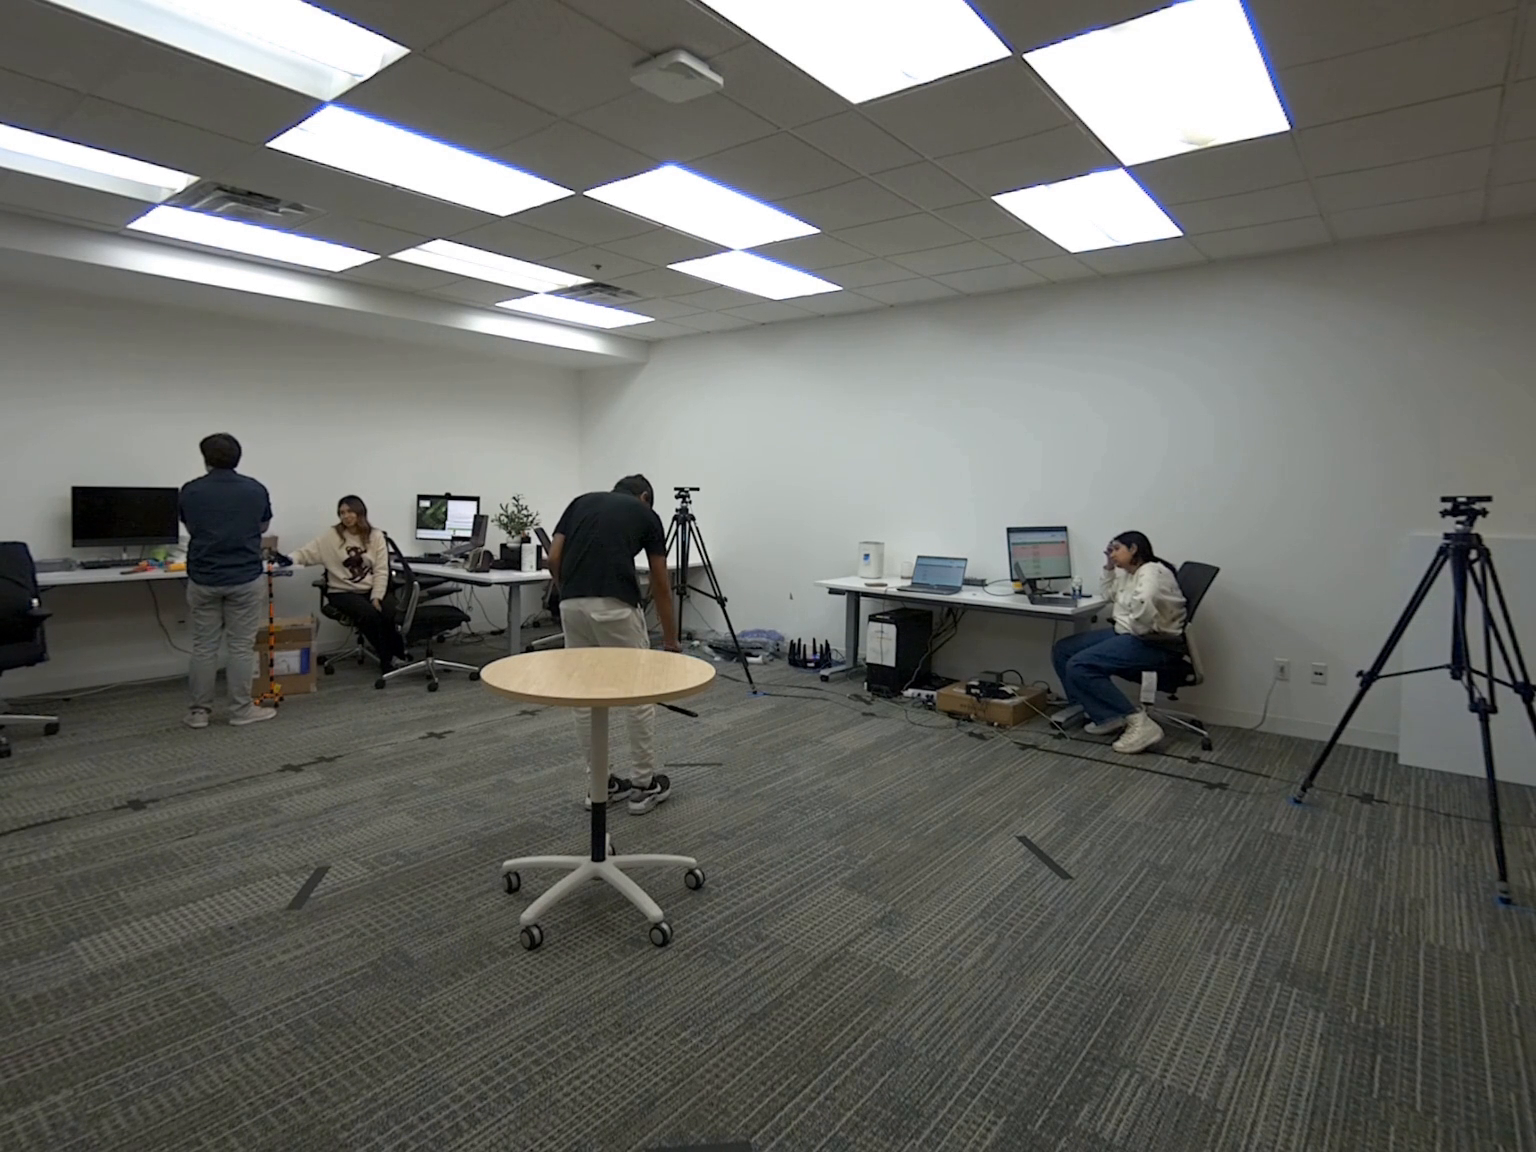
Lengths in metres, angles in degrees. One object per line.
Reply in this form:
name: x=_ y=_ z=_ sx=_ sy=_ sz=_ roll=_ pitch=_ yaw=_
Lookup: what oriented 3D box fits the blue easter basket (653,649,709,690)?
blue easter basket: x=-0.416 y=0.449 z=4.038 sx=0.244 sy=0.157 sz=0.241 roll=4 pitch=-11 yaw=-1
